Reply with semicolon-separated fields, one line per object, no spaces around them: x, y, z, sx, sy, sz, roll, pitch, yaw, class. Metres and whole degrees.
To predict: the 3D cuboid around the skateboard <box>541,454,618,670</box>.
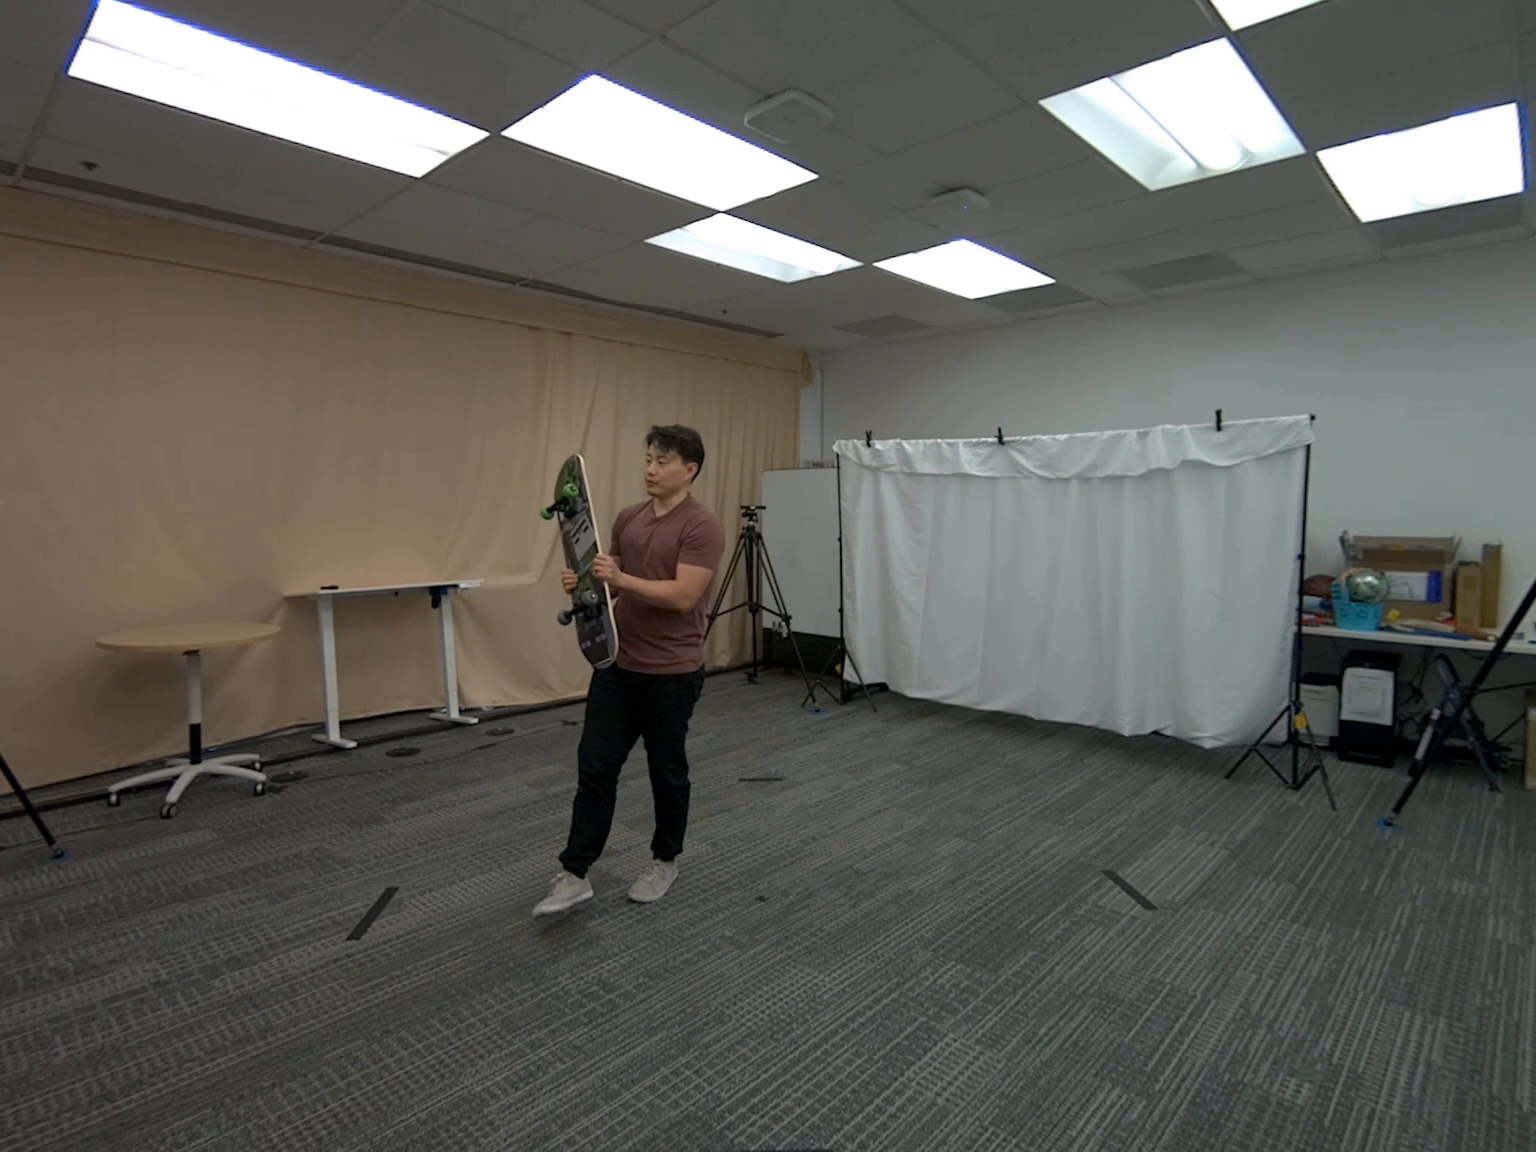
-0.649;-0.066;2.822;0.106;0.801;0.196;10;-34;-44;skateboard
